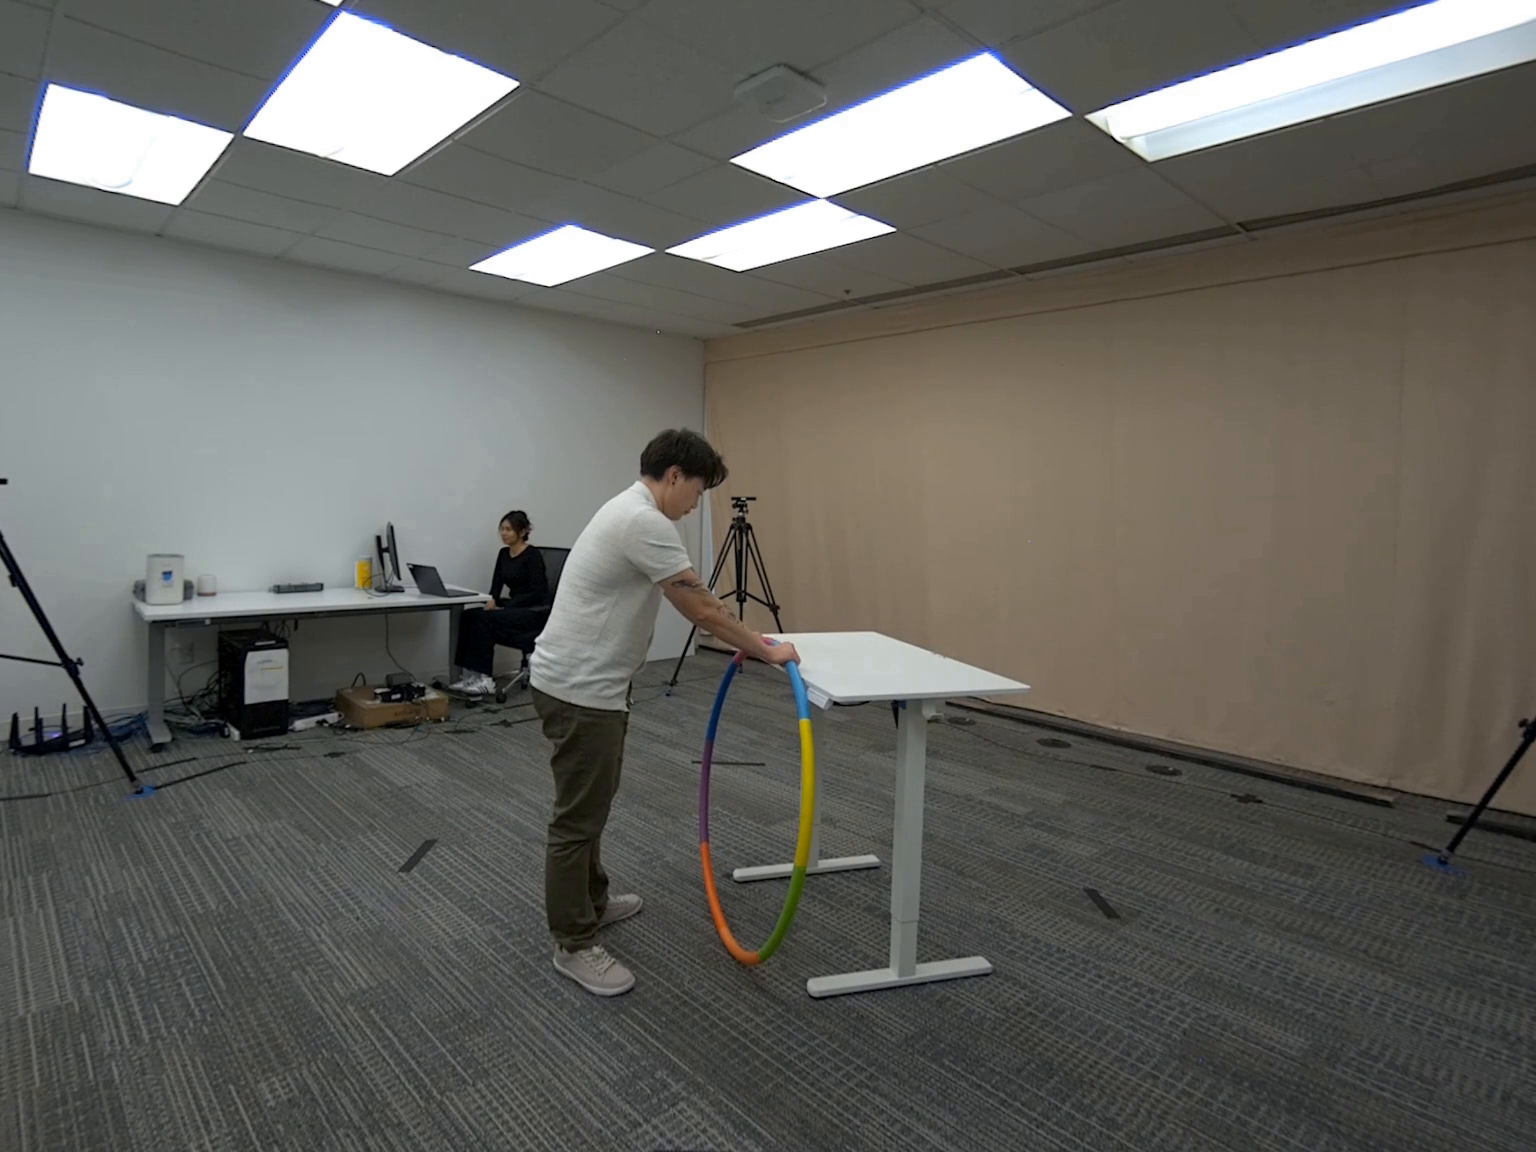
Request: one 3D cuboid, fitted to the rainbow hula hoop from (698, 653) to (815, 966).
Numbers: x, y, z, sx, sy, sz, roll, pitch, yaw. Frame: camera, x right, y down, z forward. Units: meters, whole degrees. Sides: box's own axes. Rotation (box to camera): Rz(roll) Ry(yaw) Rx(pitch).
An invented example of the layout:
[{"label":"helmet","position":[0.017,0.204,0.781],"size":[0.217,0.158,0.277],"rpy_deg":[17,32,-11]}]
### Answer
[{"label":"rainbow hula hoop","position":[-0.071,0.676,2.631],"size":[0.035,0.978,0.994],"rpy_deg":[8,2,-18]}]
